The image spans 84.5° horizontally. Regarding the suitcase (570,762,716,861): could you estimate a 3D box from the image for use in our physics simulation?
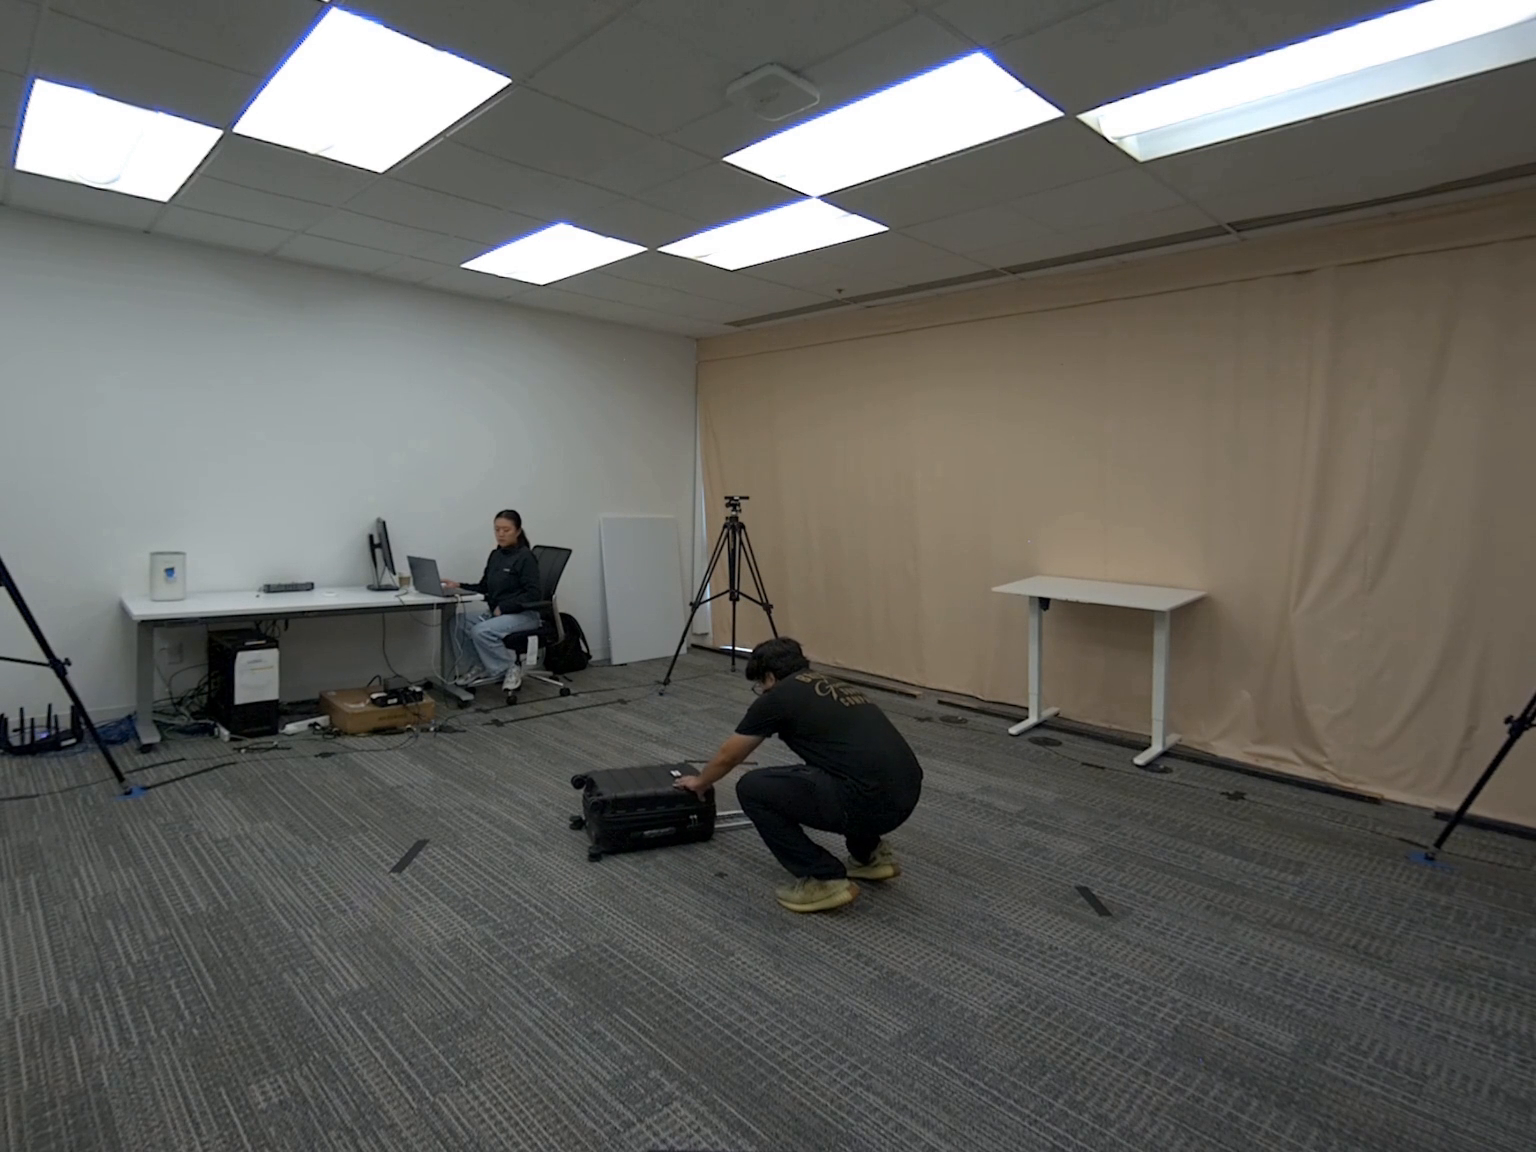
[{"bbox_3d":[-0.325,0.931,3.532,0.962,0.256,0.391,-3,5,-24],"label":"suitcase"}]
